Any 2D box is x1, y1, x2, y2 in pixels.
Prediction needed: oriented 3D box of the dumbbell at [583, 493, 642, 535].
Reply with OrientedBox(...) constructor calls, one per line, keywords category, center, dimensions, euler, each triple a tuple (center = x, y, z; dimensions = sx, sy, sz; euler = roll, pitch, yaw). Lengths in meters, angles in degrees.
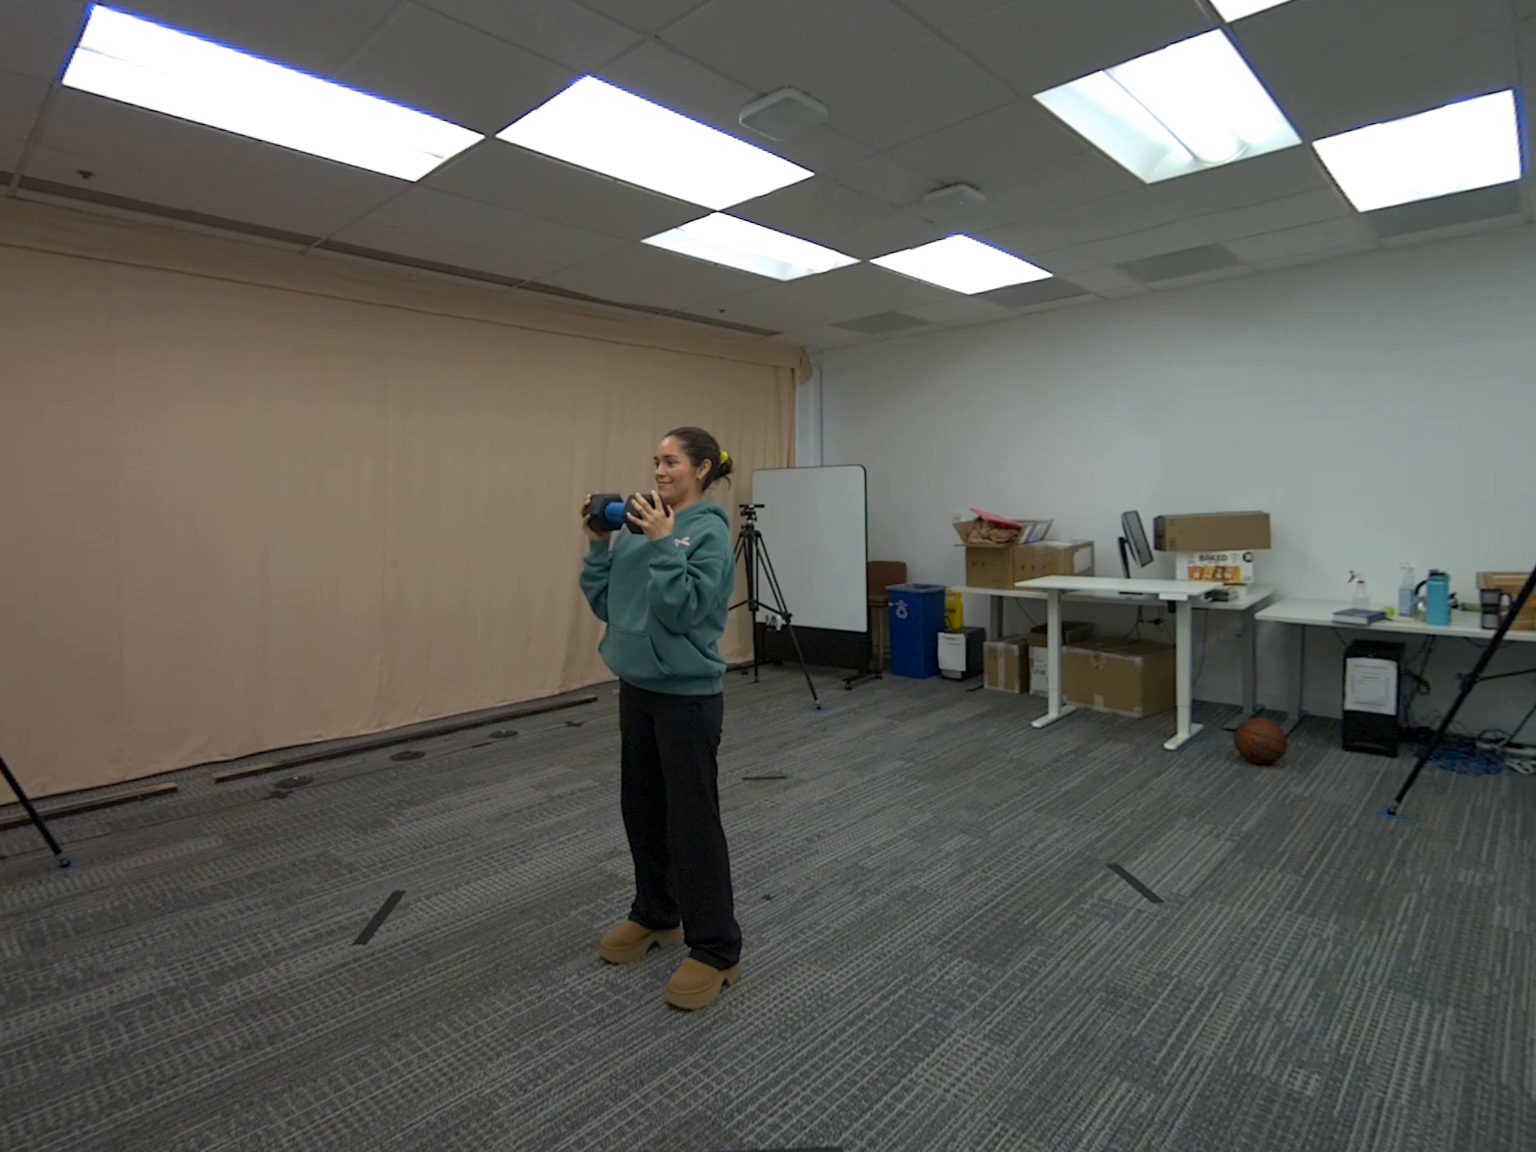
OrientedBox(category="dumbbell", center=(-0.396, -0.172, 2.374), dimensions=(0.107, 0.120, 0.303), euler=(-40, 29, -31))
